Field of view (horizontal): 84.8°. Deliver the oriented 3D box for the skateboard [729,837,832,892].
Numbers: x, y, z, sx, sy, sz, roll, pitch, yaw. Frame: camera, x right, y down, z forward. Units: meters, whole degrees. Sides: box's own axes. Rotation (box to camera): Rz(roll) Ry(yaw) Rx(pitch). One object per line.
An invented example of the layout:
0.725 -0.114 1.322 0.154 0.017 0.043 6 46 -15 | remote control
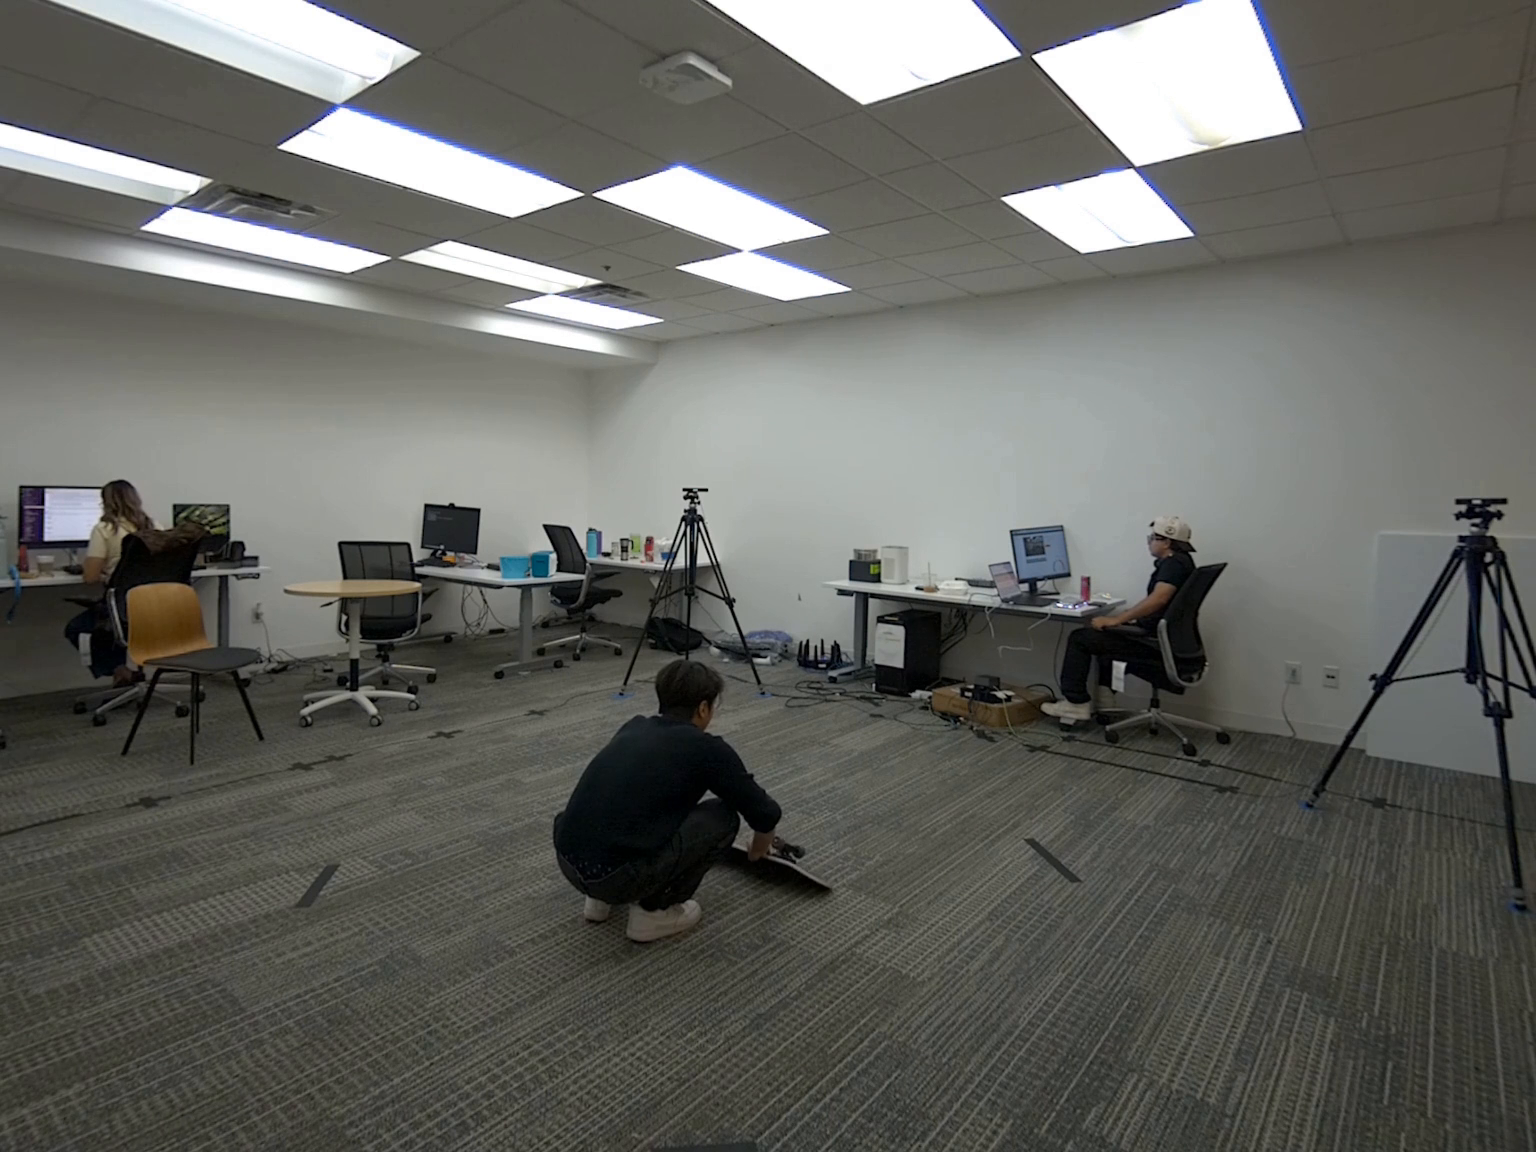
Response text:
-0.109 0.987 3.183 0.812 0.111 0.185 5 -23 38 | skateboard
